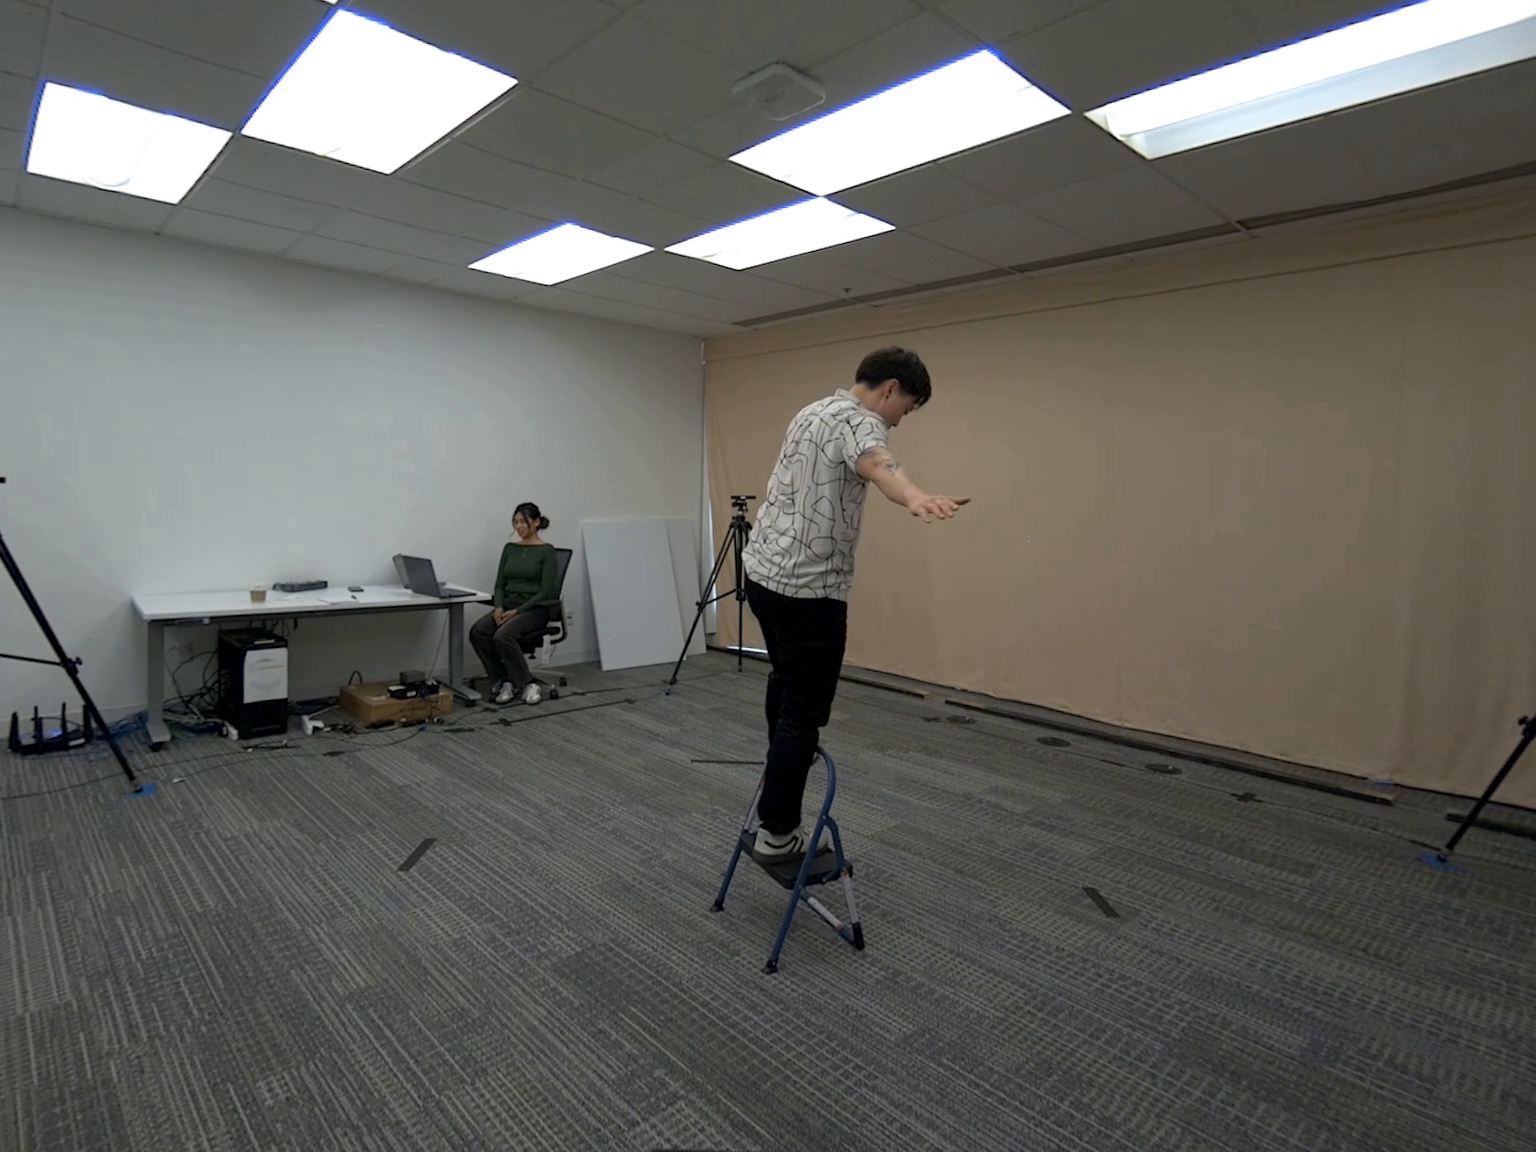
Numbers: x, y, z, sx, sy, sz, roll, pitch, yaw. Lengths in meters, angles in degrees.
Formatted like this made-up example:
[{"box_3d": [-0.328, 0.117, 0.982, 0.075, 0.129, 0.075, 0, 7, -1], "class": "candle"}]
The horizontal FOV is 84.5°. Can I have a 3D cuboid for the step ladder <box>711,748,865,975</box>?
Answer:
[{"box_3d": [0.057, 0.841, 2.703, 0.343, 0.604, 0.440, -1, 4, -27], "class": "step ladder"}]
